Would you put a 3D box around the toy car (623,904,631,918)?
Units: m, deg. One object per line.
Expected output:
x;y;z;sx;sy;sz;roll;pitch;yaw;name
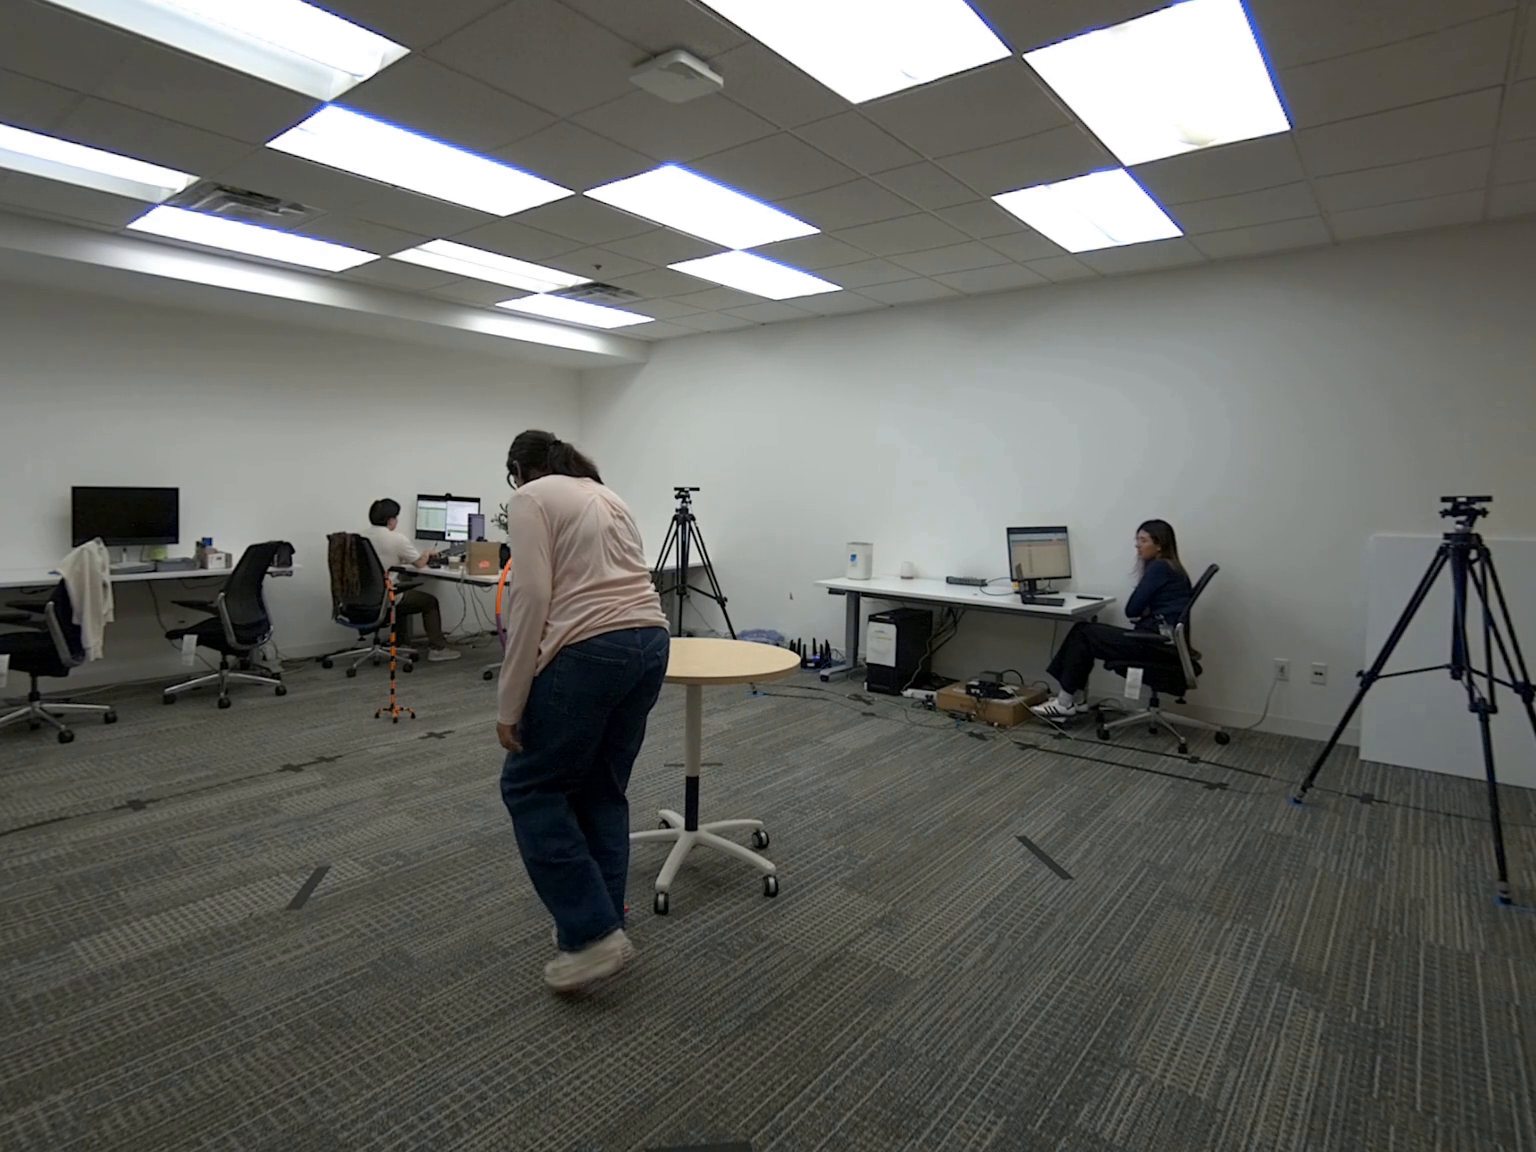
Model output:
-0.568;1.062;2.737;0.261;0.083;0.126;-8;-2;36;toy car
